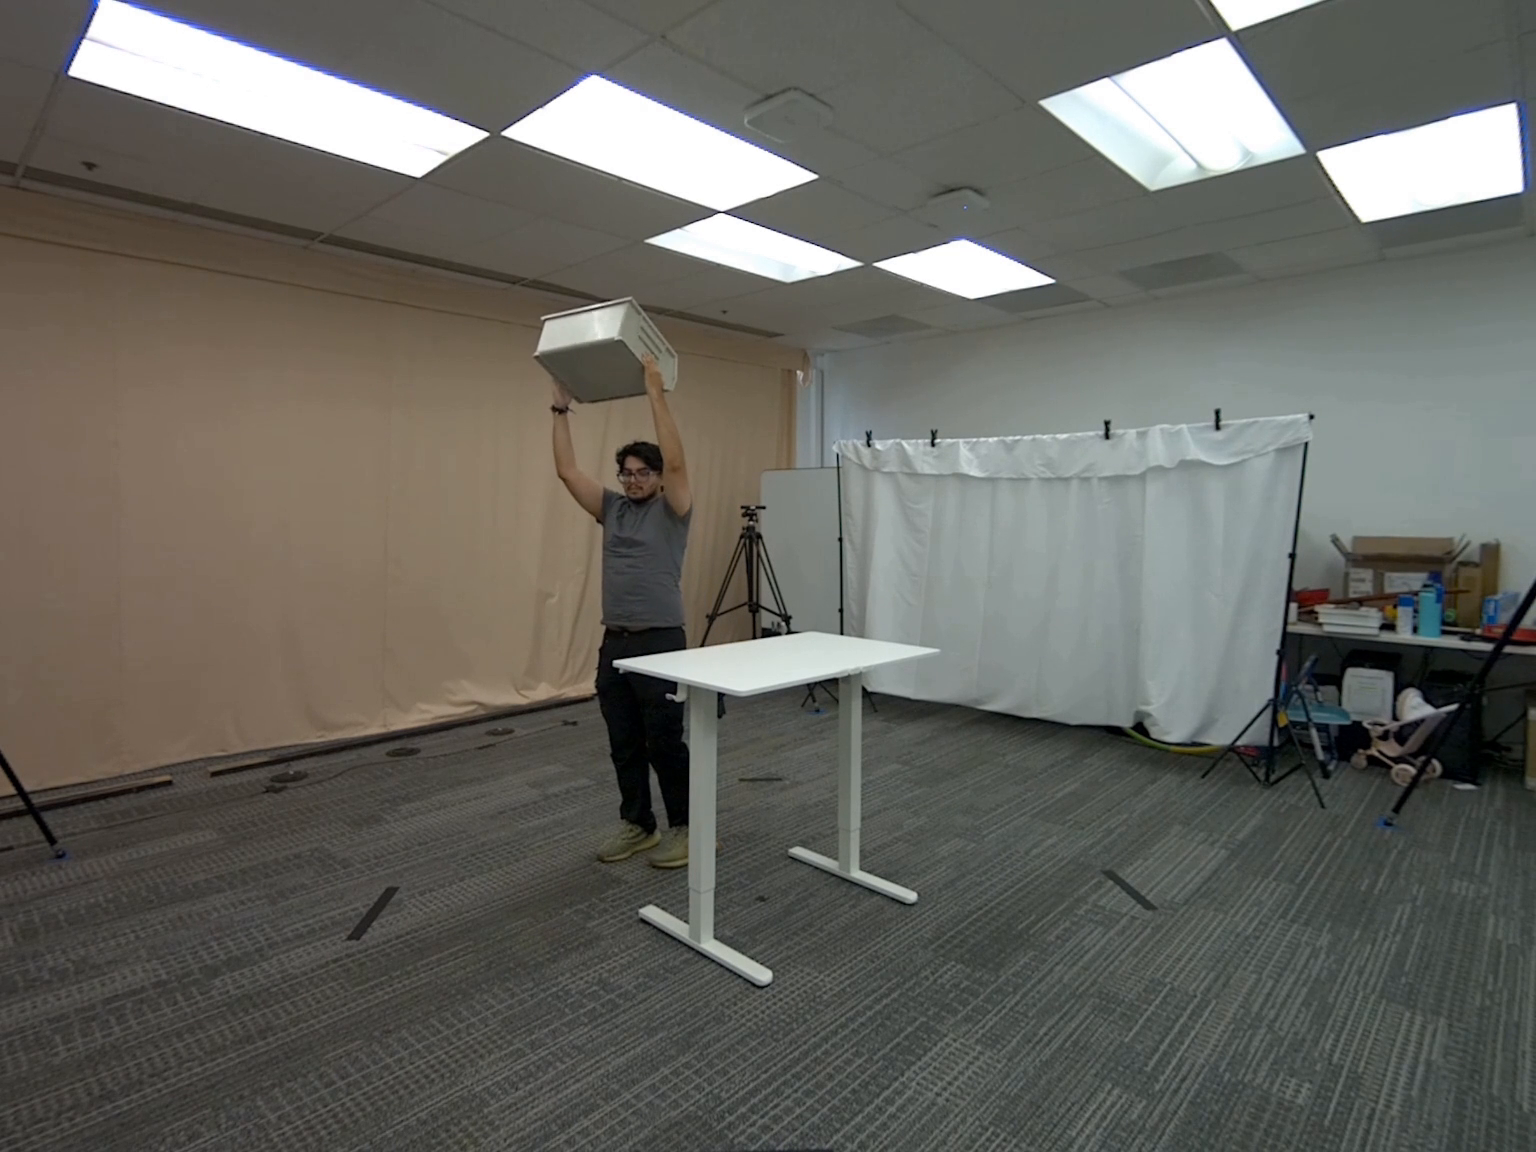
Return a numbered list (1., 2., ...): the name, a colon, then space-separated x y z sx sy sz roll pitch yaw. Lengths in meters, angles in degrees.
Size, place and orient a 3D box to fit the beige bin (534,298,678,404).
1. beige bin: -0.614 -0.836 3.223 0.433 0.190 0.364 -1 -26 27
